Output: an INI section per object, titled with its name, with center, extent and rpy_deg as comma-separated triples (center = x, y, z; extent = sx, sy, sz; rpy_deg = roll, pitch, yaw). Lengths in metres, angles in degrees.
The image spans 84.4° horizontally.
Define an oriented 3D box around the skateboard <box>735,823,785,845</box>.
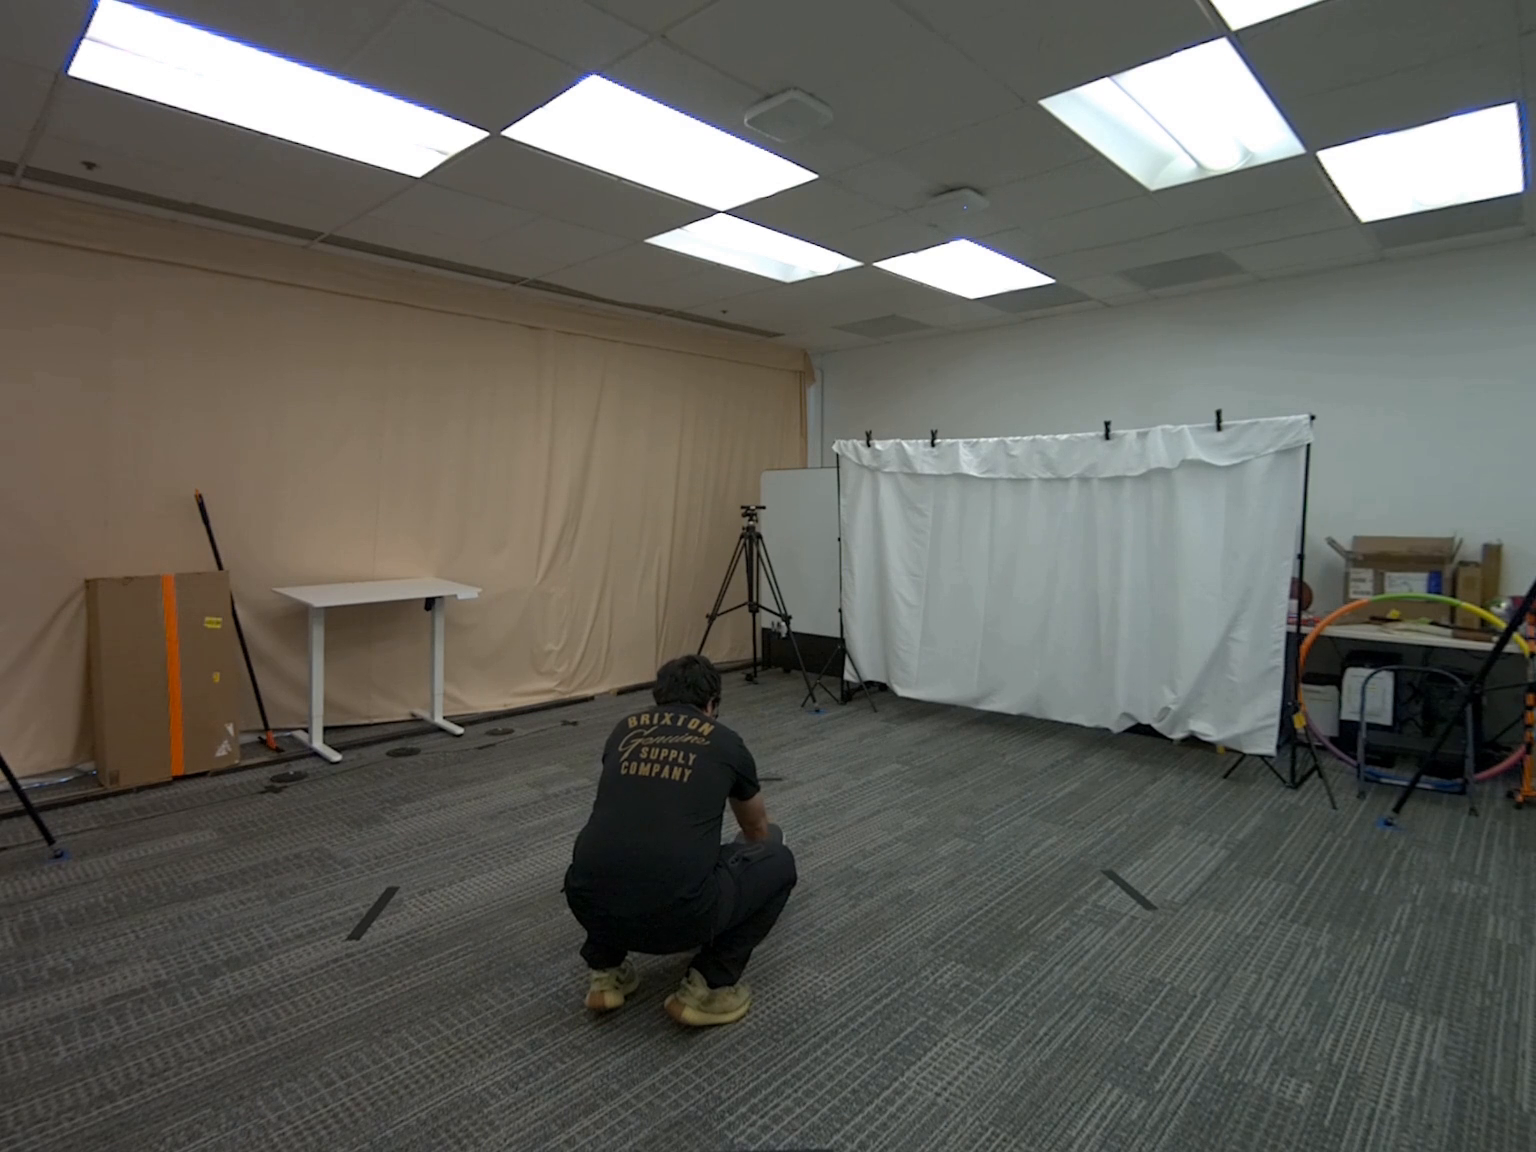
[skateboard]
center = -0.128, 1.051, 2.764
extent = 0.197, 0.109, 0.775
rpy_deg = -1, 12, 19
